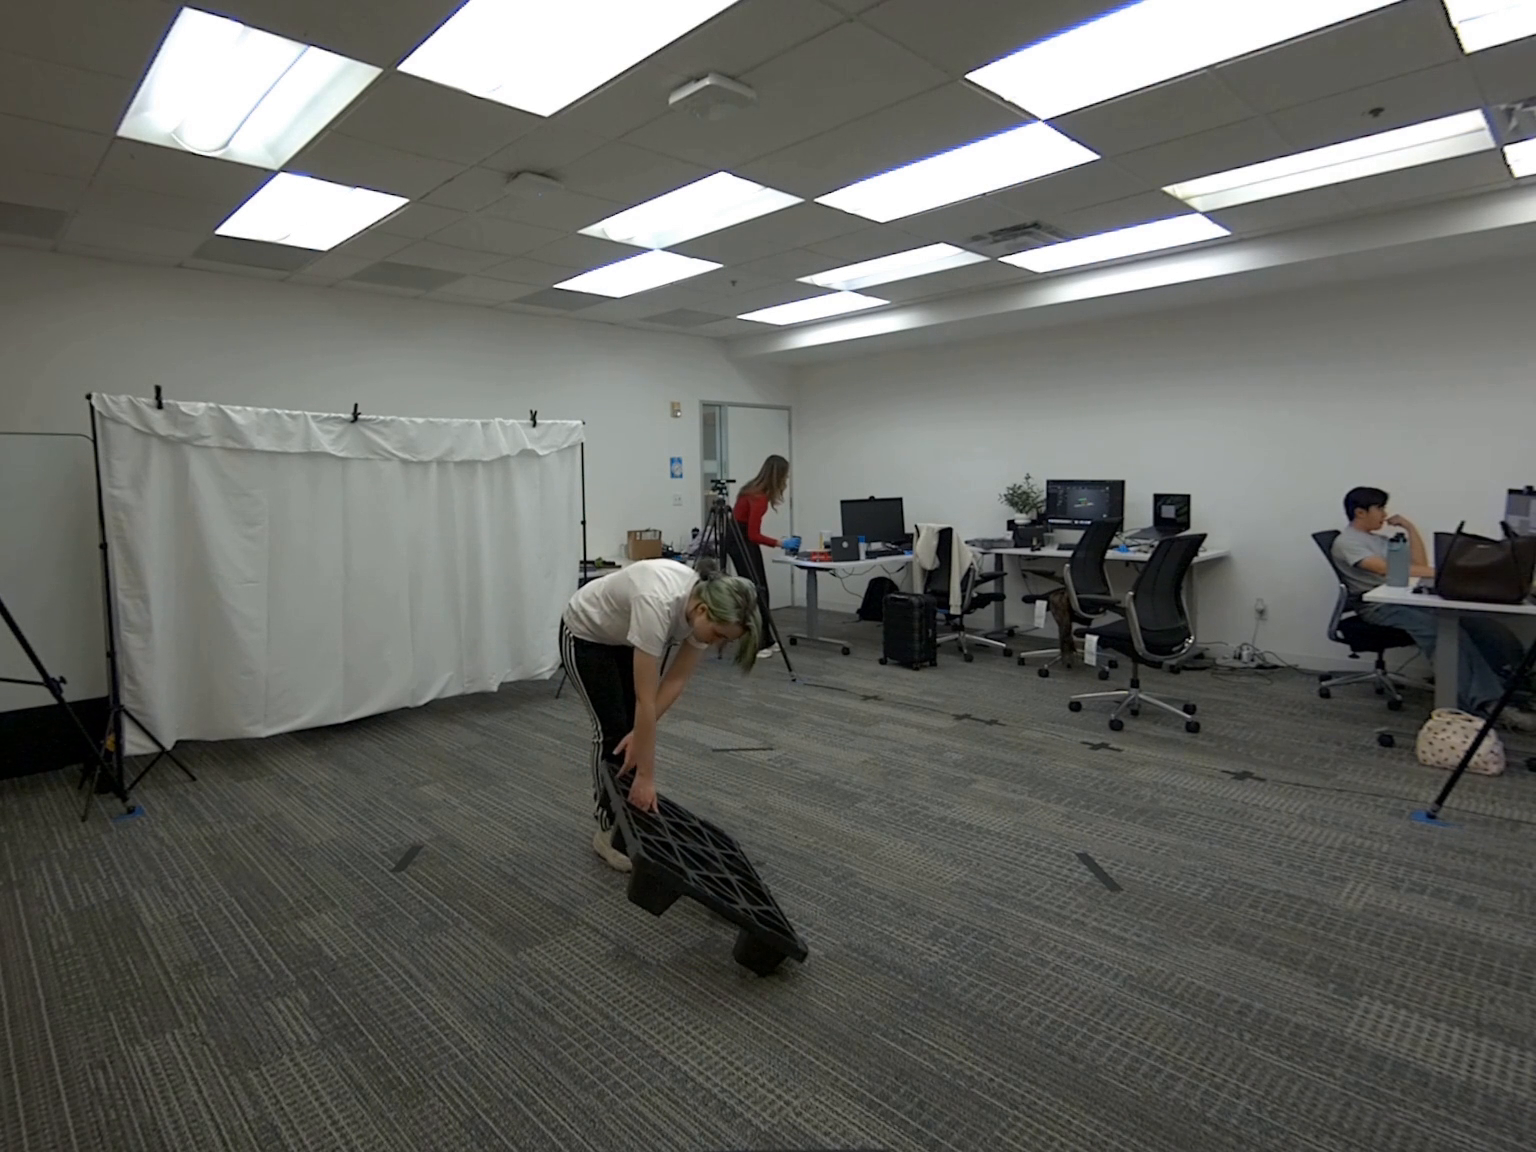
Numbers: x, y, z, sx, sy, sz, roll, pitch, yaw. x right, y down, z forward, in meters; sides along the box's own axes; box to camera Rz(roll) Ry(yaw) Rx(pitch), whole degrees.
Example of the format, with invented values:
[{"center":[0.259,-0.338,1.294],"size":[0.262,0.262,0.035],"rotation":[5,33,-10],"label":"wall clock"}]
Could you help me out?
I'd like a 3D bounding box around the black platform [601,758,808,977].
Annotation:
[{"center":[-0.267,0.901,2.695],"size":[0.594,0.143,0.821],"rotation":[36,-5,-16],"label":"black platform"}]
